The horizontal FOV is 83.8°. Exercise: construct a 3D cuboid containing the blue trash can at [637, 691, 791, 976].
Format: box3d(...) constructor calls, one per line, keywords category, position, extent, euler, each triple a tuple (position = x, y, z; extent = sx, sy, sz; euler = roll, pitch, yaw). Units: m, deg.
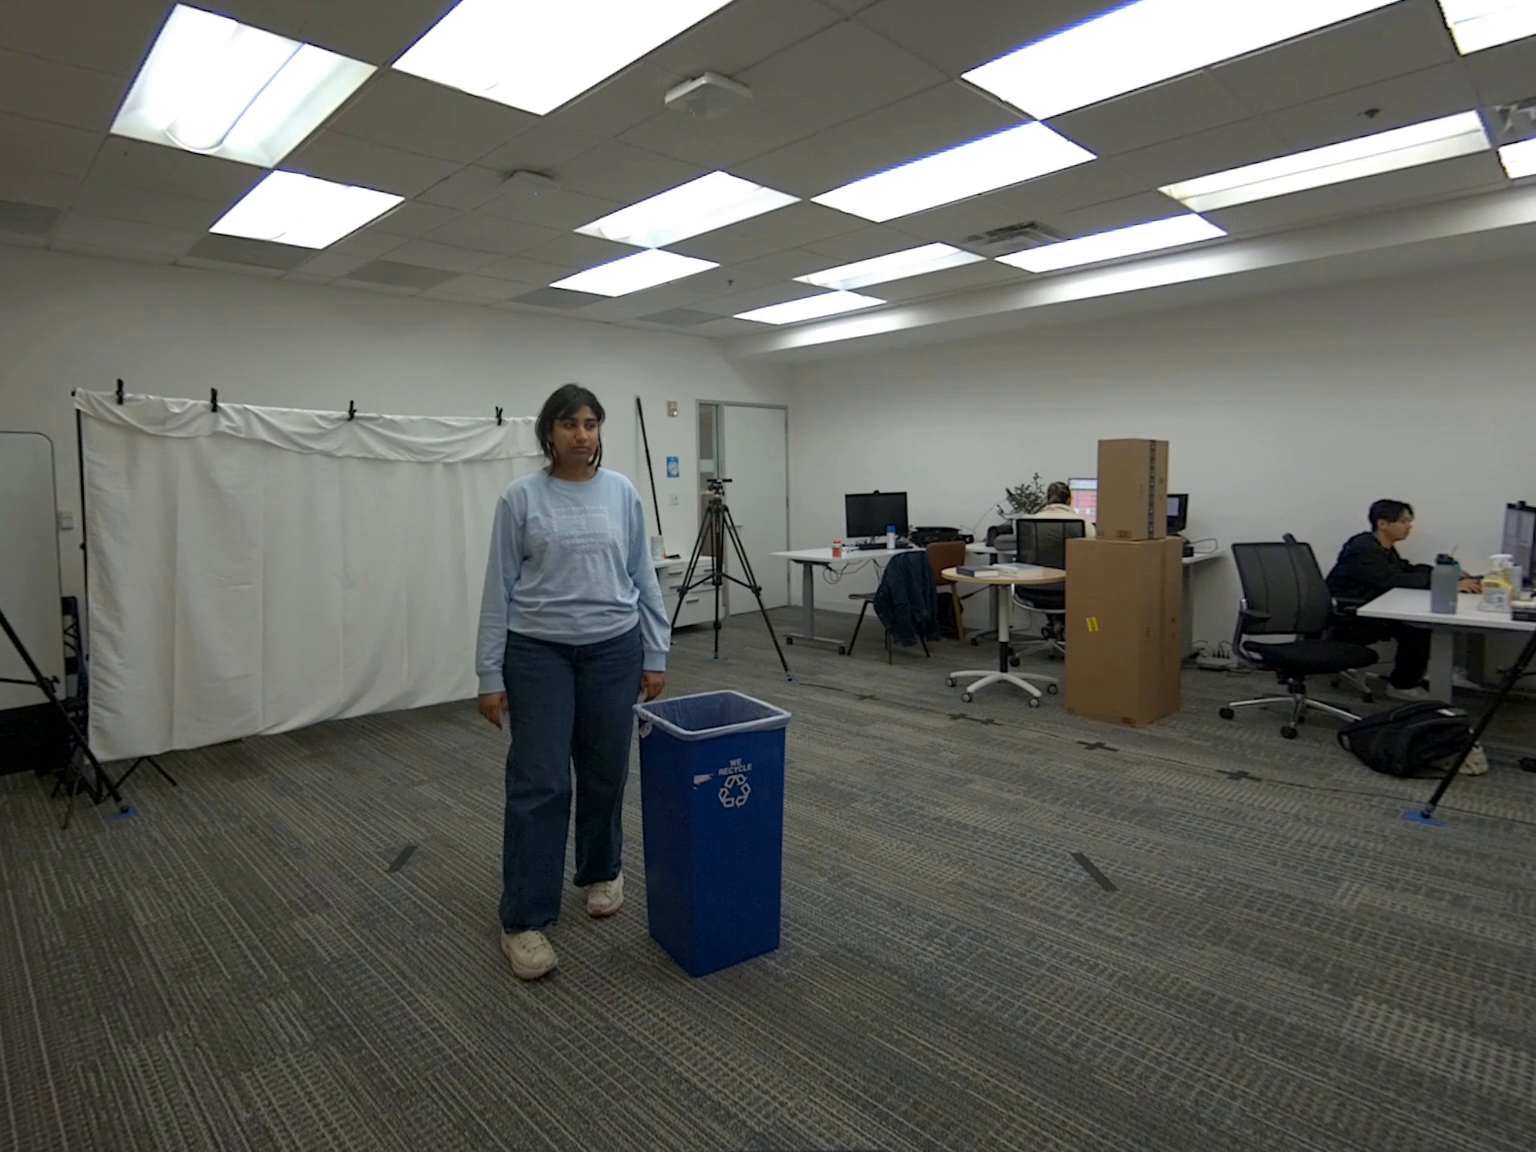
box3d(category="blue trash can", position=(-0.164, 0.748, 2.581), extent=(0.365, 0.711, 0.389), euler=(-4, 5, -33))
